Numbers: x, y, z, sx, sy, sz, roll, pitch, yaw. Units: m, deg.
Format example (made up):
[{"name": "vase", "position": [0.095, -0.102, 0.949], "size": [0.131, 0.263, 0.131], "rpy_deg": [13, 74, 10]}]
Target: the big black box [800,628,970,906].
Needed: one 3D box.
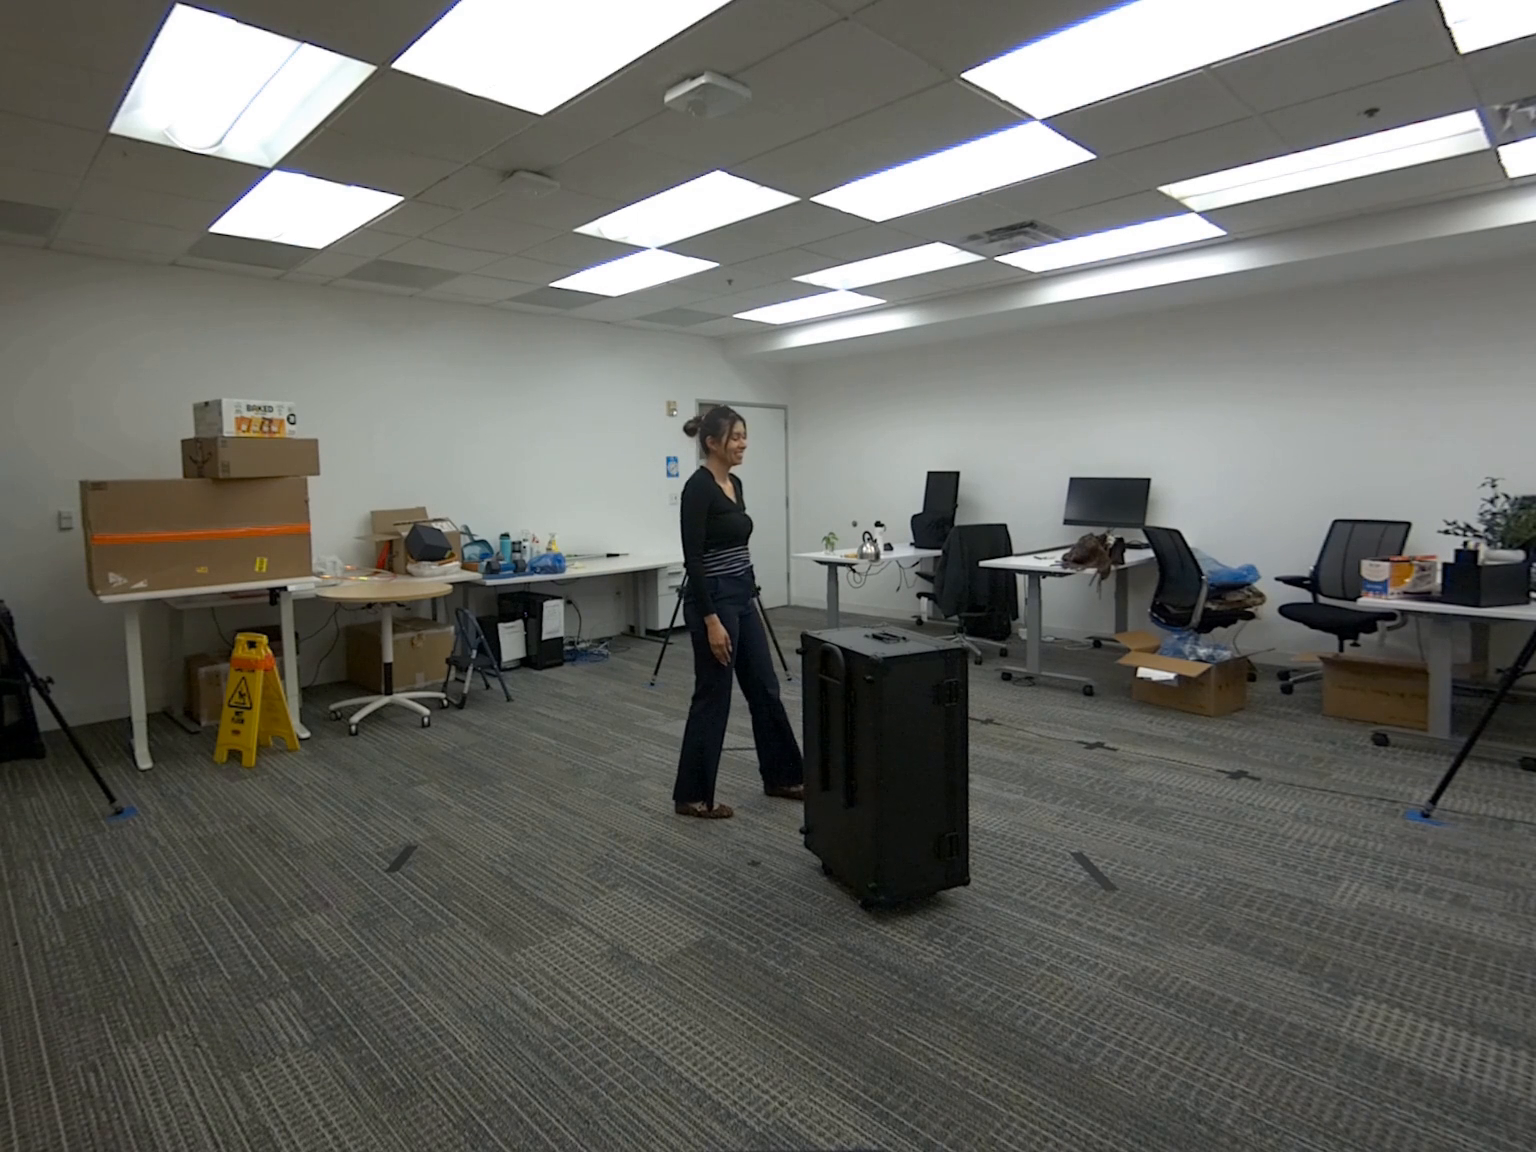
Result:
[{"name": "big black box", "position": [0.382, 0.632, 2.889], "size": [0.388, 0.858, 0.534], "rpy_deg": [-4, 5, -24]}]
